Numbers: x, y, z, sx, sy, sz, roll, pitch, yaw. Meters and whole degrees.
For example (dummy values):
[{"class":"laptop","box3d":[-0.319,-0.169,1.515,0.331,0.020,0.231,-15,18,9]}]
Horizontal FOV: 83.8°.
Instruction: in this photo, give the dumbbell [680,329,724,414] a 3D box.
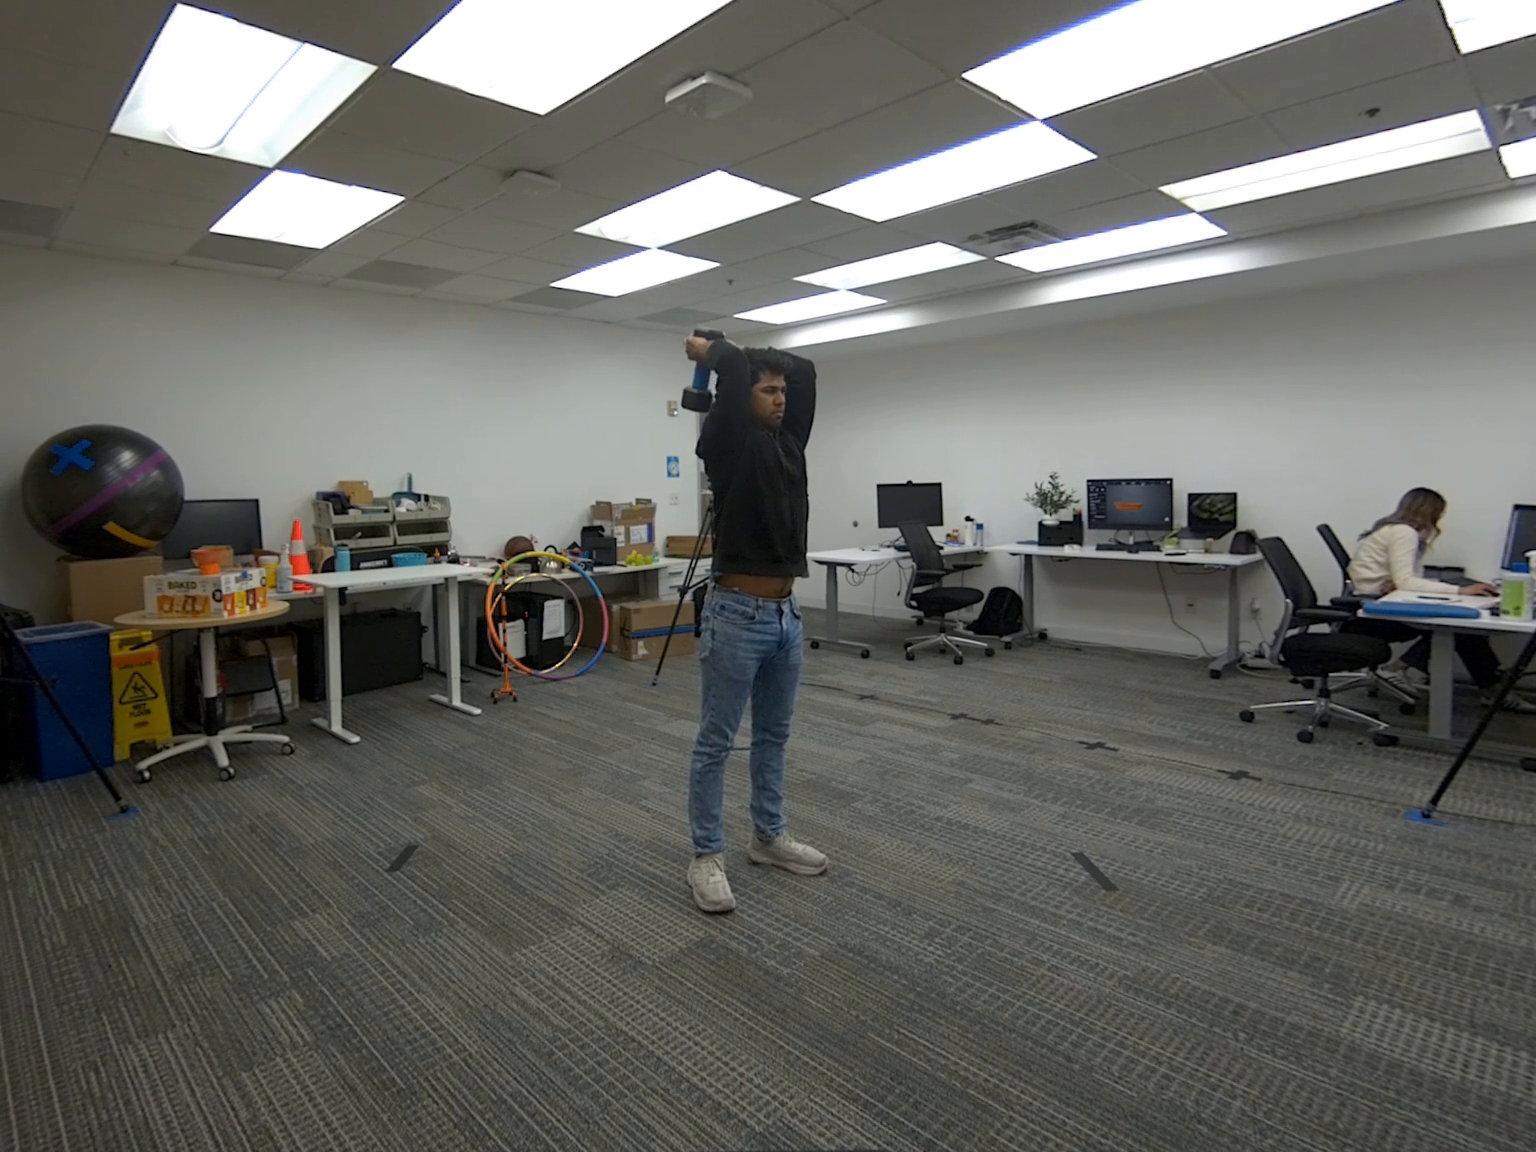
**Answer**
[{"class":"dumbbell","box3d":[-0.217,-0.730,3.032,0.120,0.289,0.113,0,23,-29]}]
